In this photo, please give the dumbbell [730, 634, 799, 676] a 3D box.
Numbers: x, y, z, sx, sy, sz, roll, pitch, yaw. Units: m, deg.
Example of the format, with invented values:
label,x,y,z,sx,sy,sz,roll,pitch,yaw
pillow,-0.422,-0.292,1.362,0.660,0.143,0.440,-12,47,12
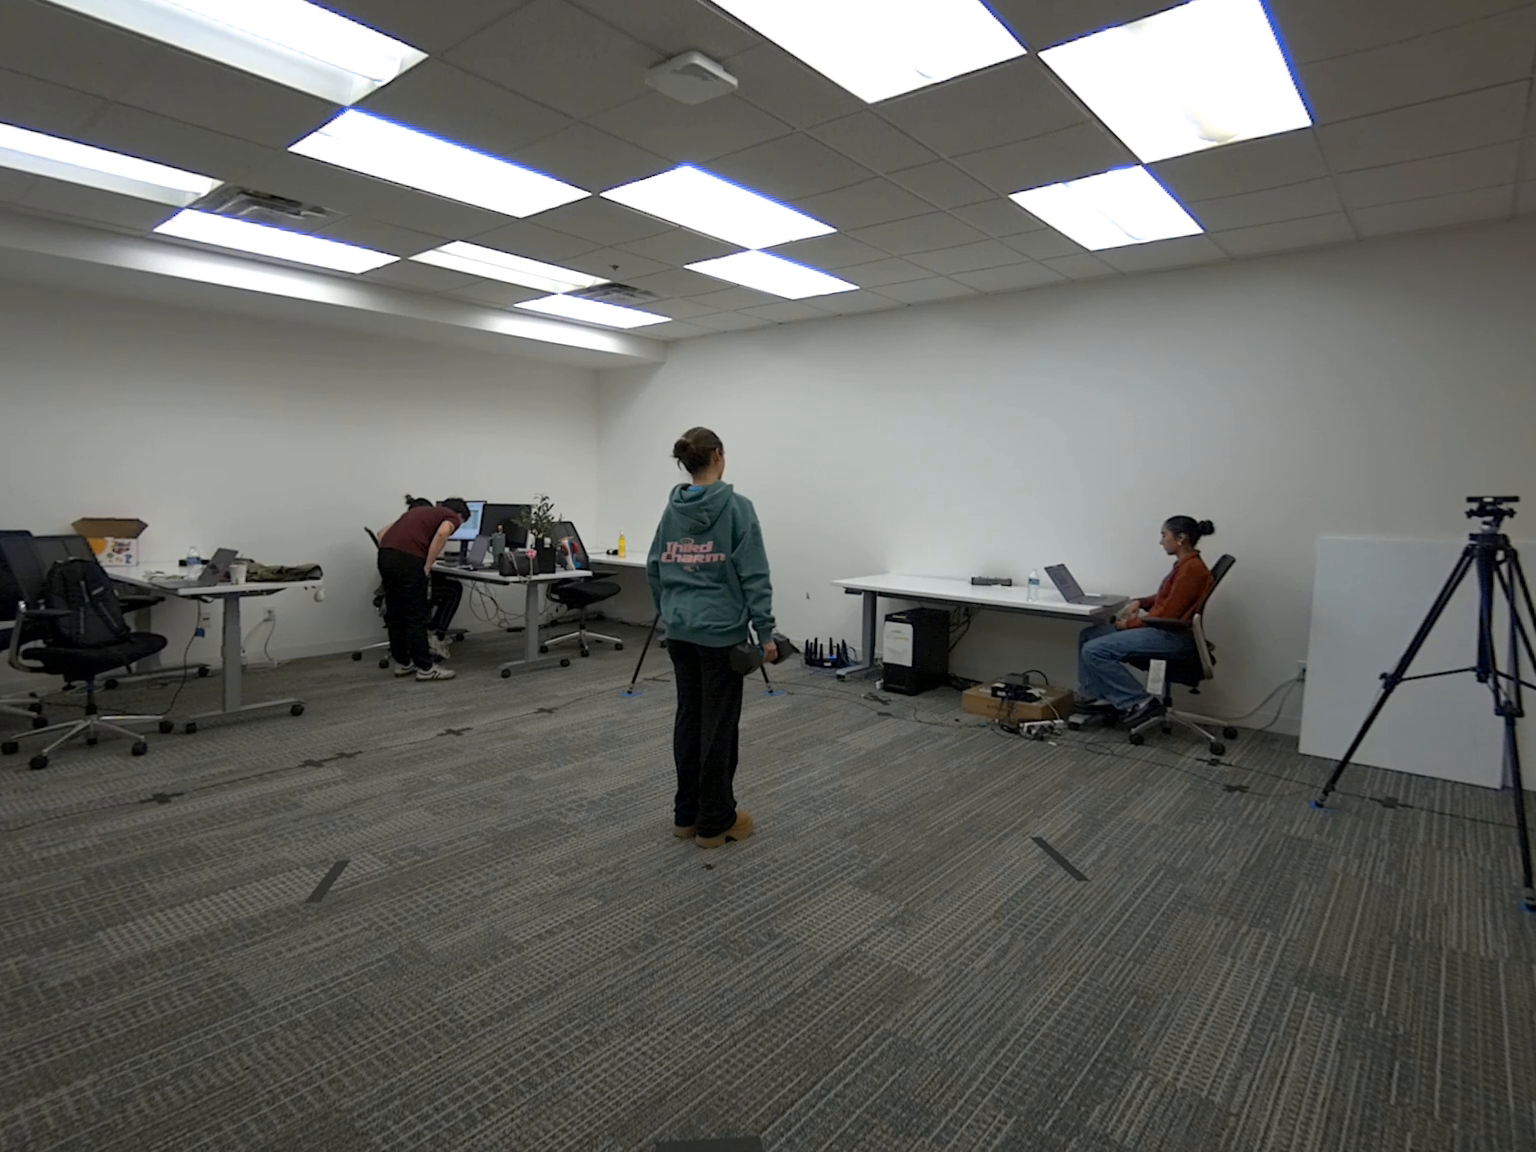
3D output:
label,x,y,z,sx,sy,sz,roll,pitch,yaw
dumbbell,-0.043,0.299,3.316,0.123,0.111,0.286,-46,-20,31
